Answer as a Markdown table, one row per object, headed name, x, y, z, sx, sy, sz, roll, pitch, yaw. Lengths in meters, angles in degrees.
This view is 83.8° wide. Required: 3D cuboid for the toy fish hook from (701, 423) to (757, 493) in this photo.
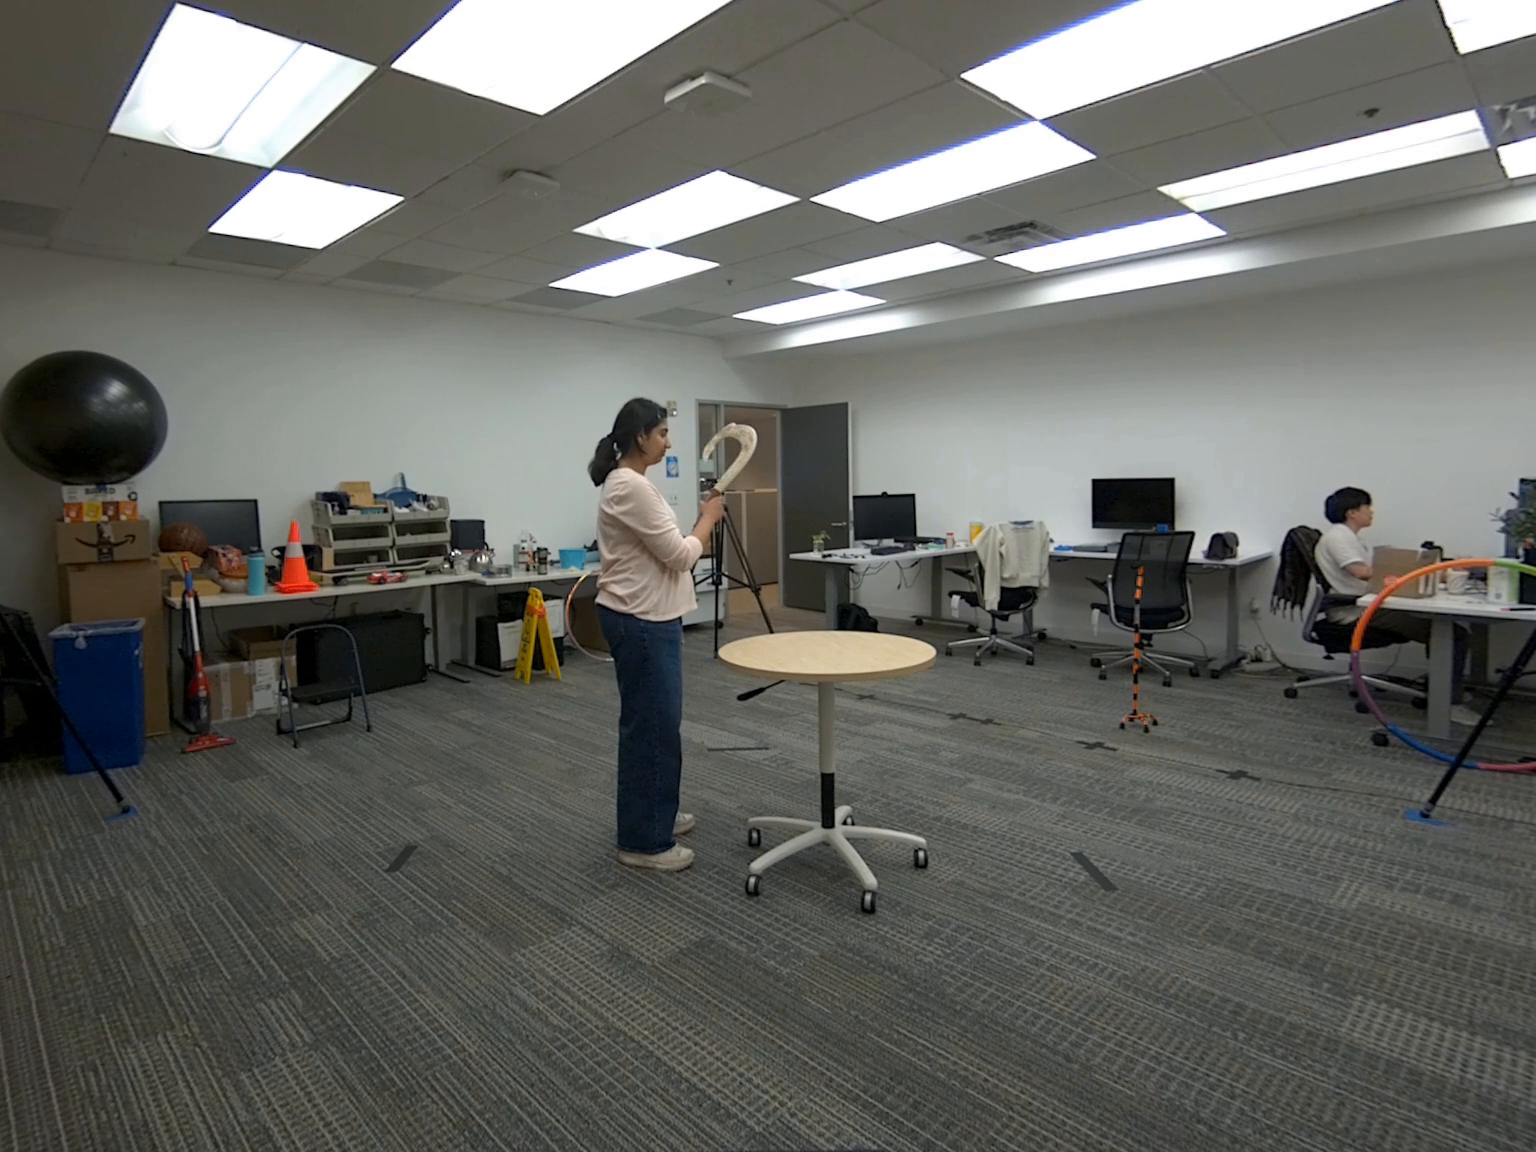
| name | x | y | z | sx | sy | sz | roll | pitch | yaw |
| --- | --- | --- | --- | --- | --- | --- | --- | --- | --- |
| toy fish hook | -0.219 | -0.379 | 3.348 | 0.232 | 0.509 | 0.046 | 17 | -18 | 37 |
